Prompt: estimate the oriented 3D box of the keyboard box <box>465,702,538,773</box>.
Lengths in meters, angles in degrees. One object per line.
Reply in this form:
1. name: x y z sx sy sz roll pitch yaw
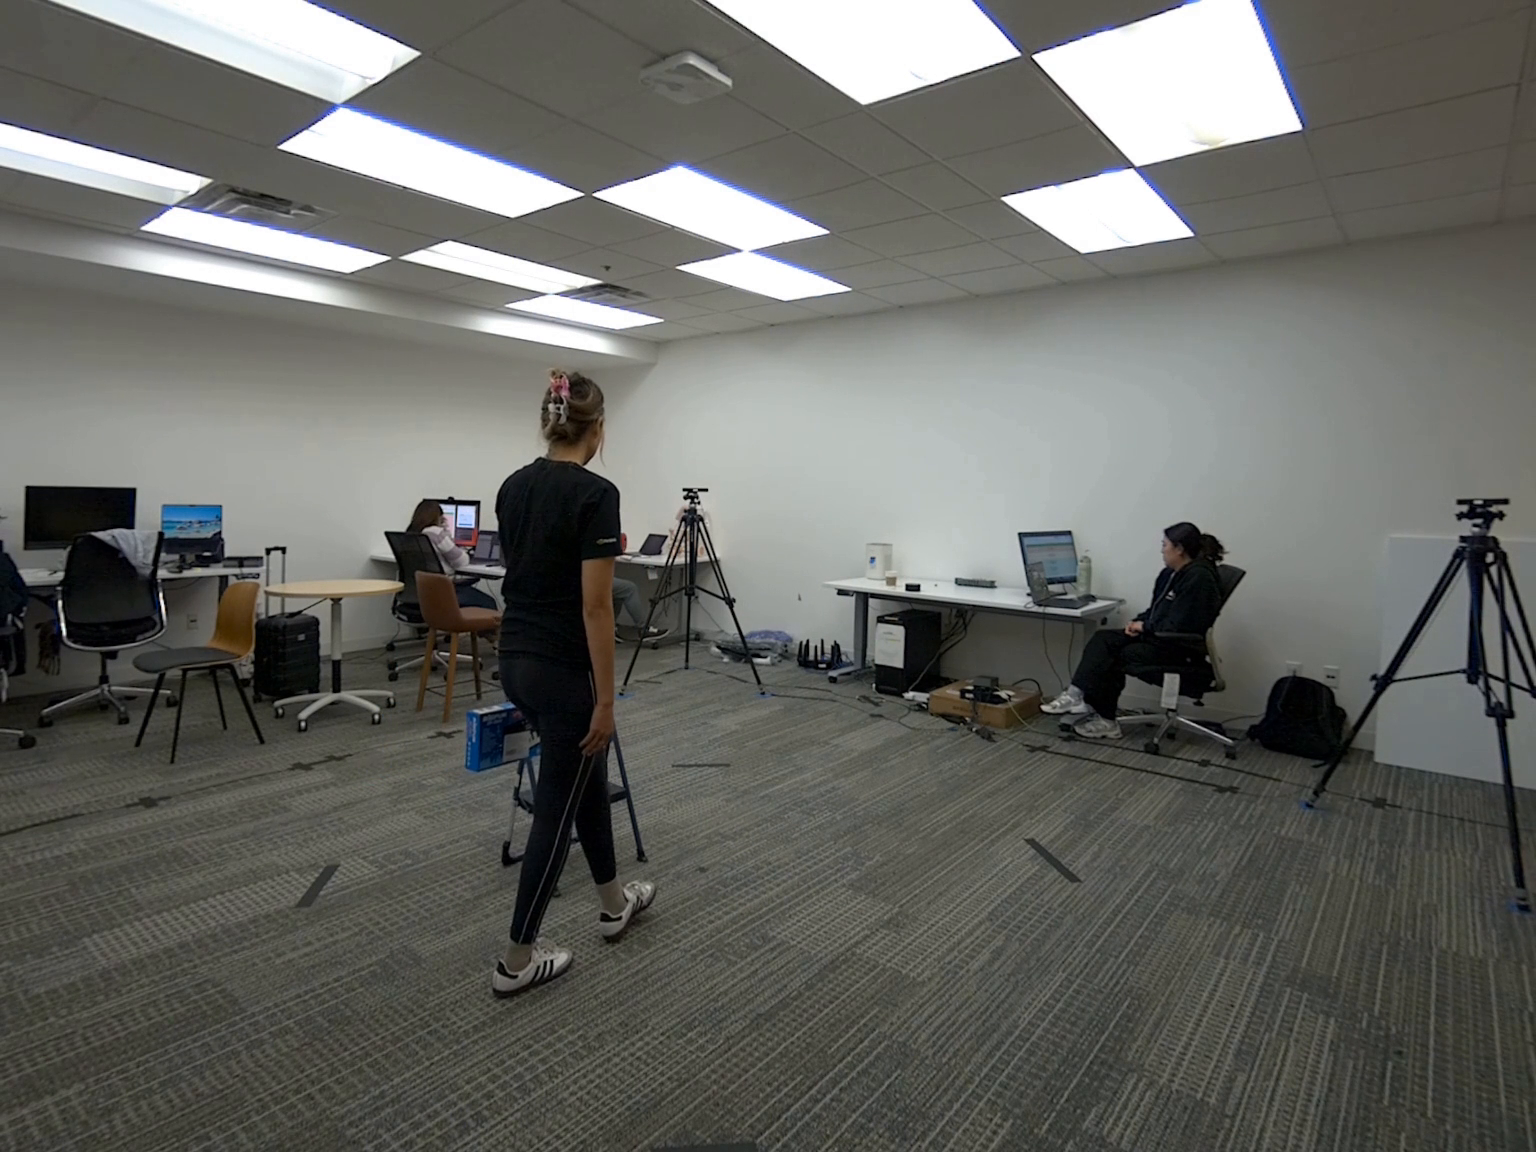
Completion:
1. keyboard box: -0.764 0.481 2.669 0.061 0.176 0.424 3 3 33
